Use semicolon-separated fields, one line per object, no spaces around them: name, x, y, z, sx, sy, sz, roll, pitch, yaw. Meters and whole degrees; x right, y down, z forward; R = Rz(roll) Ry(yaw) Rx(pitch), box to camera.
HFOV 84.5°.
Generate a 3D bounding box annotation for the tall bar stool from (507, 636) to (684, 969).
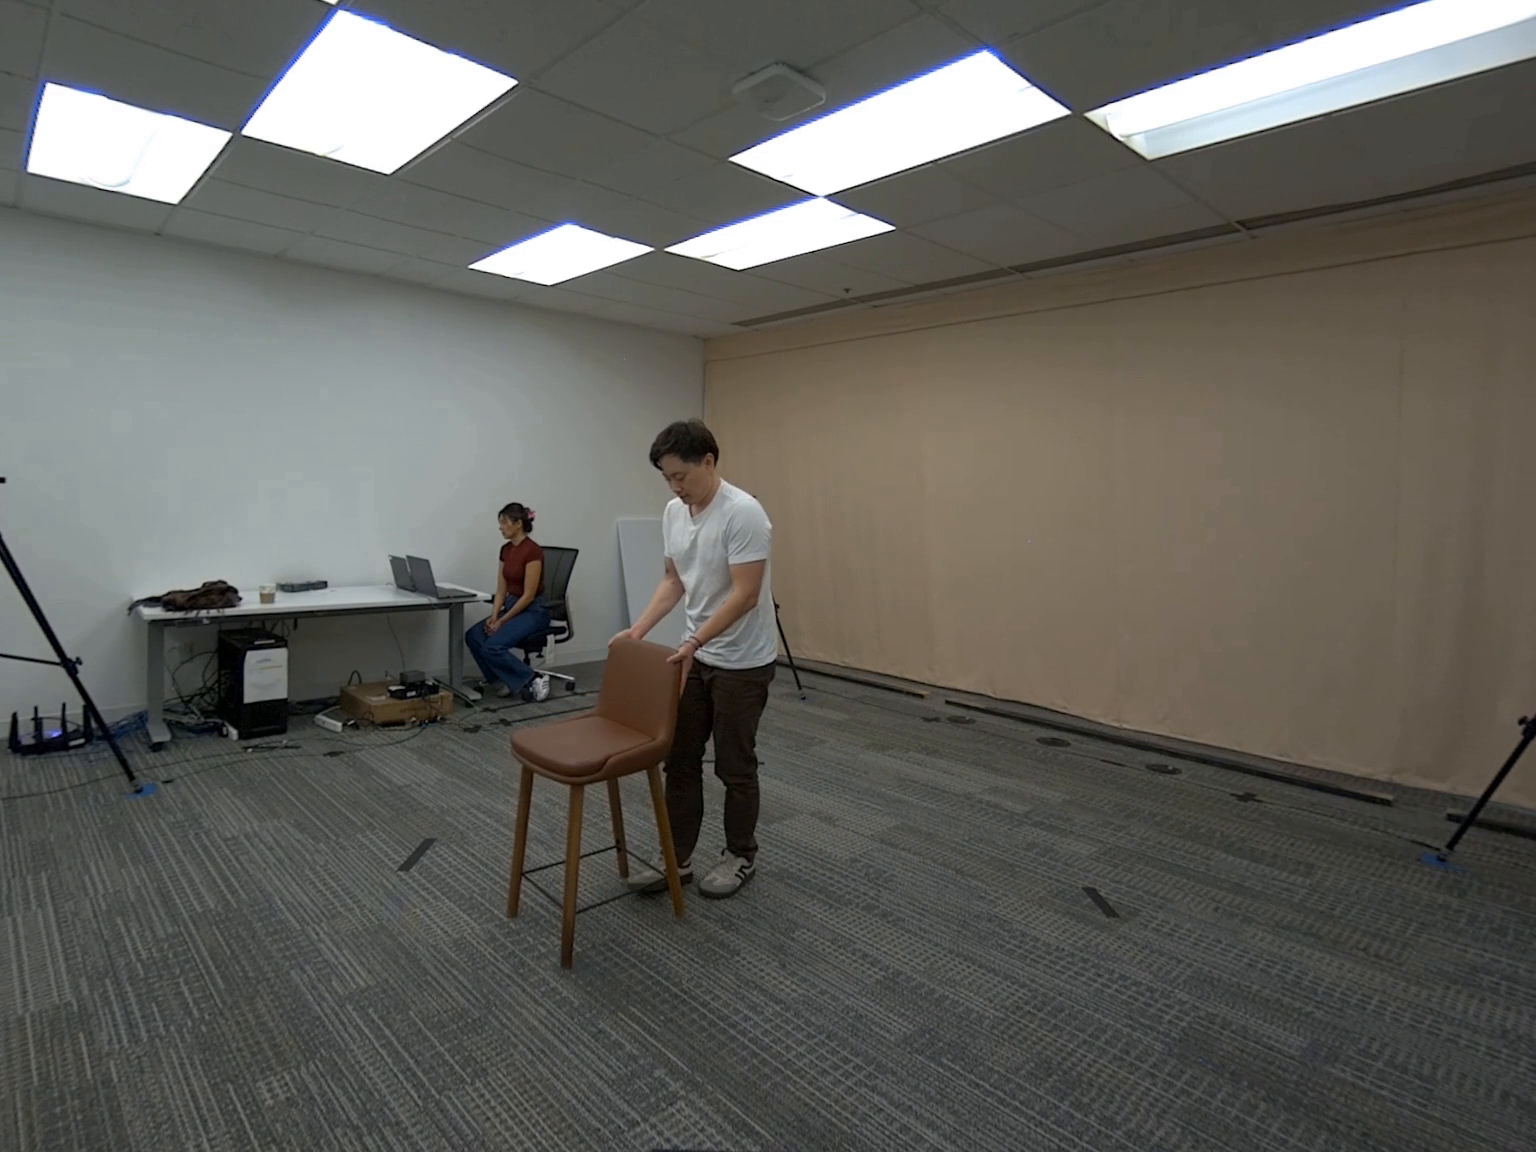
tall bar stool;-0.560;0.685;2.717;0.457;0.888;0.468;-2;4;-40
